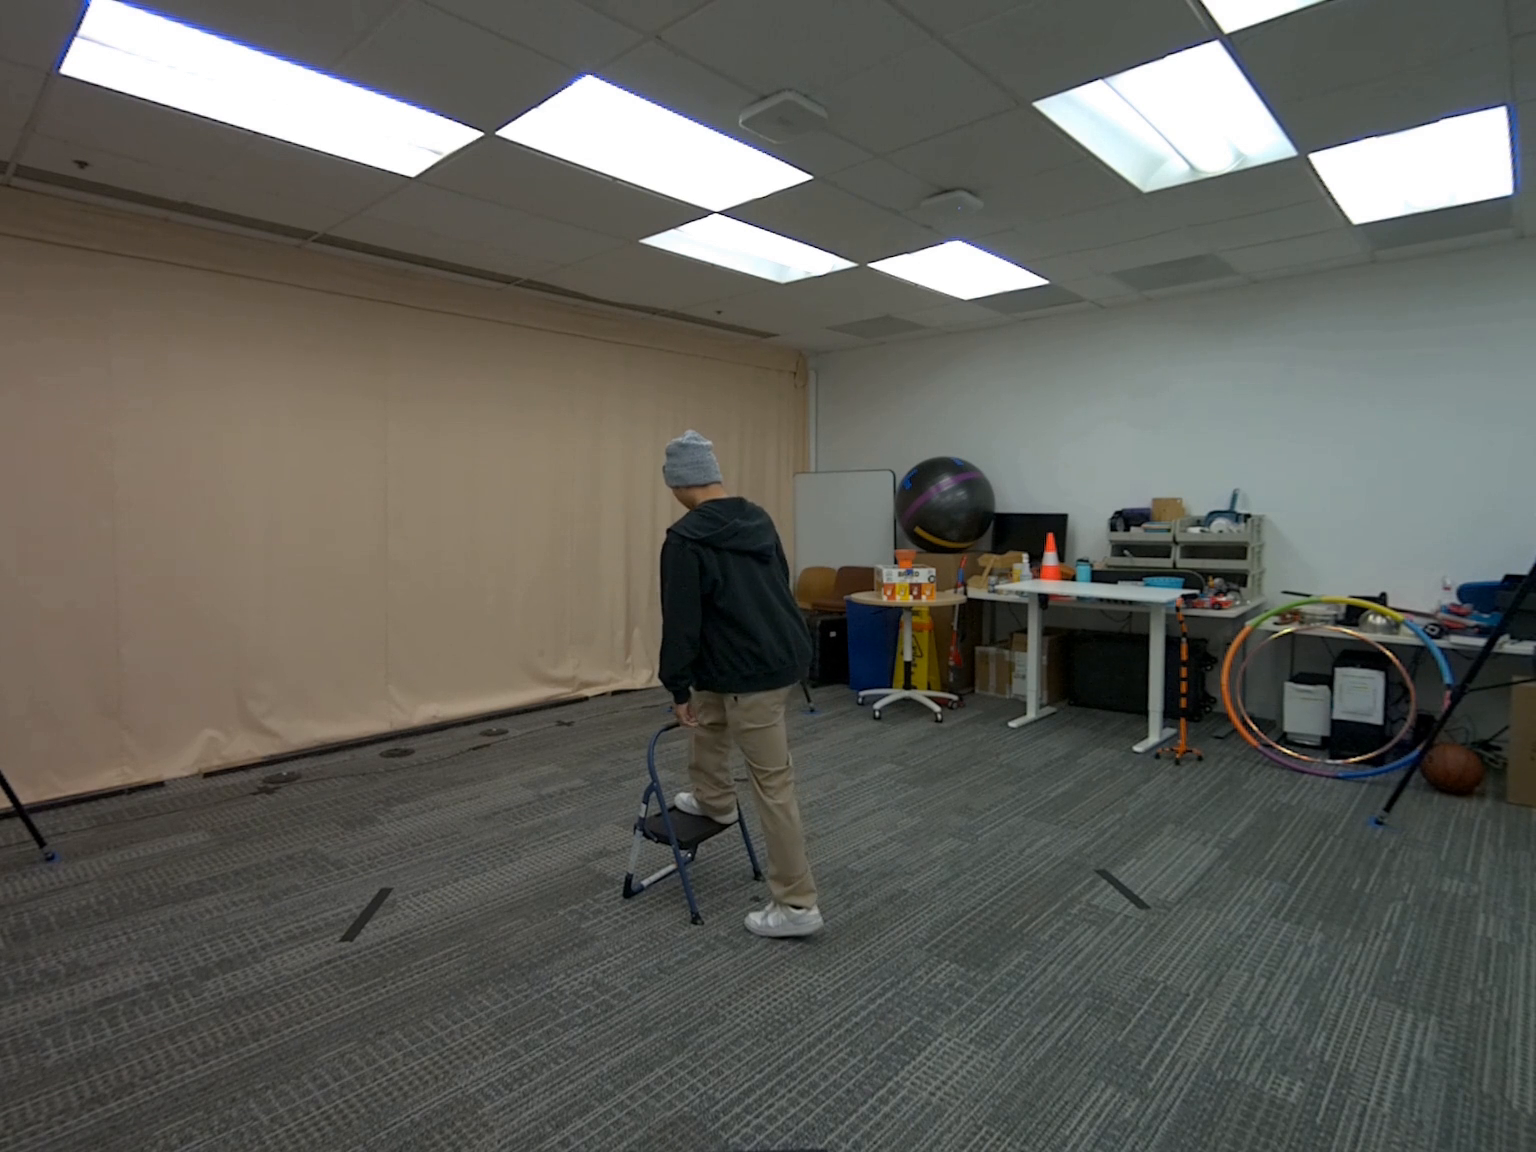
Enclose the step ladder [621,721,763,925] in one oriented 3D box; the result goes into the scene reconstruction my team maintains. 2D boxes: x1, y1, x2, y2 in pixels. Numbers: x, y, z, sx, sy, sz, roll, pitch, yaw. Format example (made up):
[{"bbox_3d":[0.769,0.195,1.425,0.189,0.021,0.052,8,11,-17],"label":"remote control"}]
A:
[{"bbox_3d":[-0.269,0.838,3.054,0.360,0.605,0.419,2,4,32],"label":"step ladder"}]
